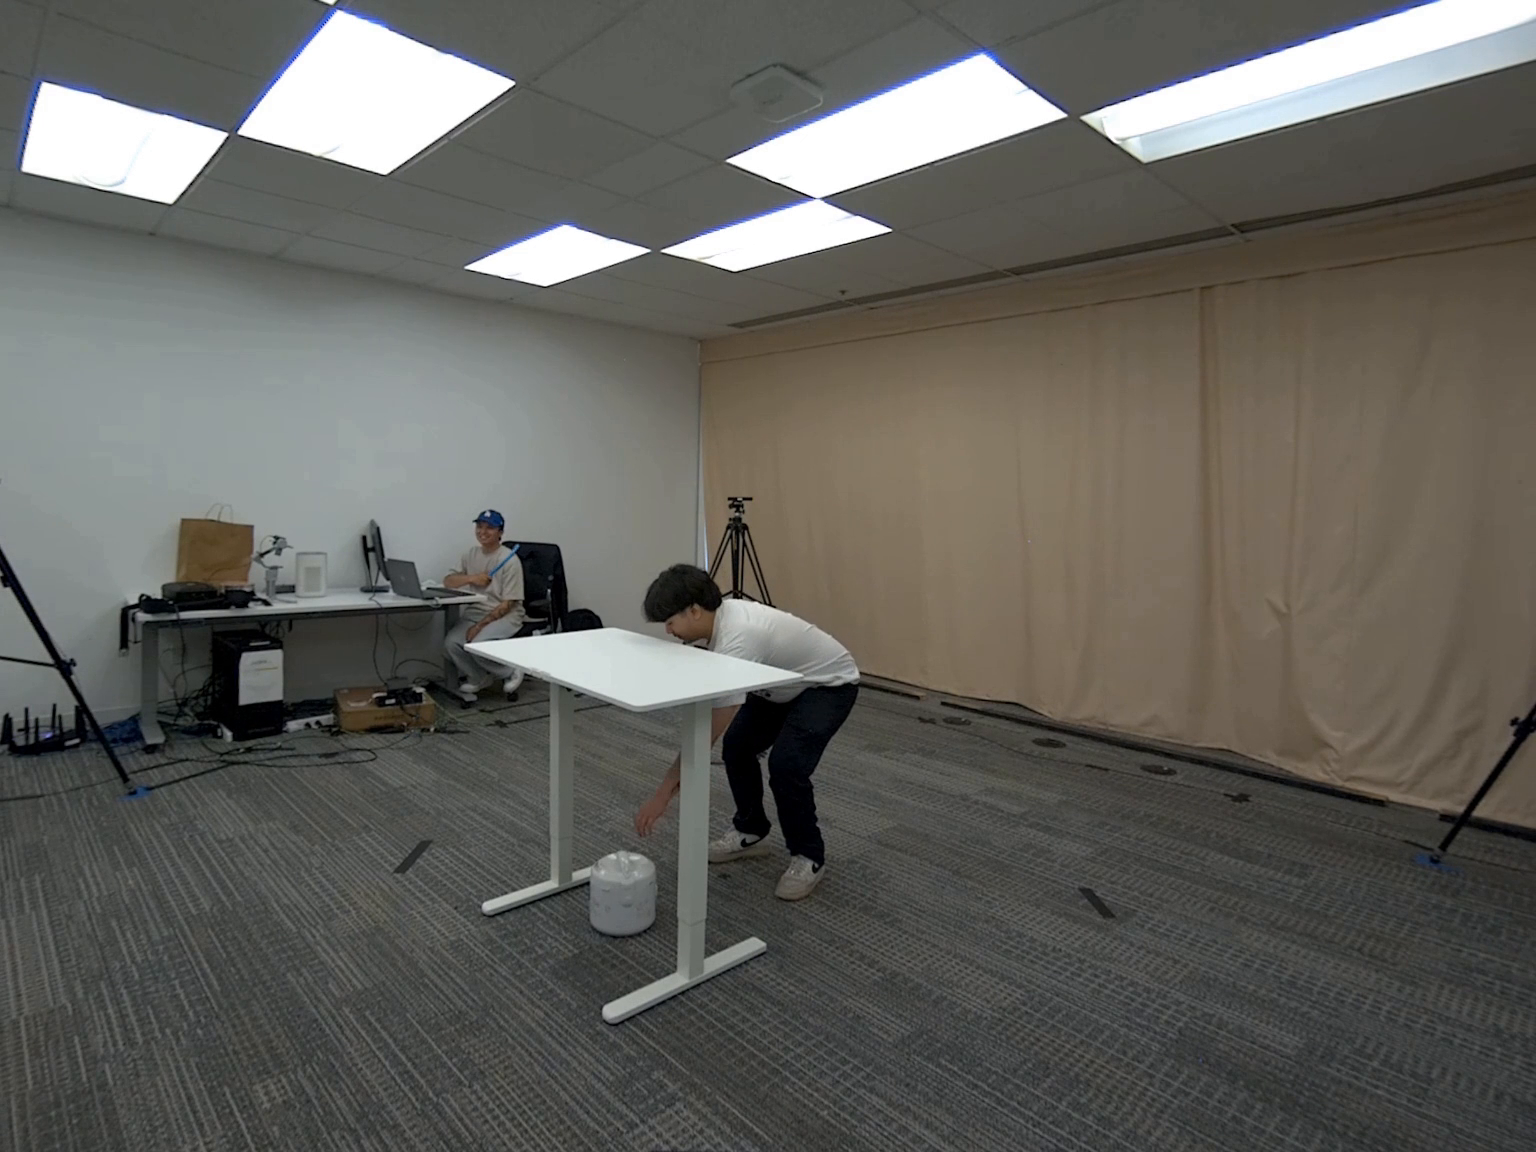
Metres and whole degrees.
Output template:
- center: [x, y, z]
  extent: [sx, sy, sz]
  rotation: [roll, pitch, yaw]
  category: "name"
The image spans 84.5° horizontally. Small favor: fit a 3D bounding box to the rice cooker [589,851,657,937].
- center: [-0.472, 1.020, 2.729]
  extent: [0.215, 0.232, 0.224]
  rotation: [0, 4, -15]
  category: "rice cooker"
